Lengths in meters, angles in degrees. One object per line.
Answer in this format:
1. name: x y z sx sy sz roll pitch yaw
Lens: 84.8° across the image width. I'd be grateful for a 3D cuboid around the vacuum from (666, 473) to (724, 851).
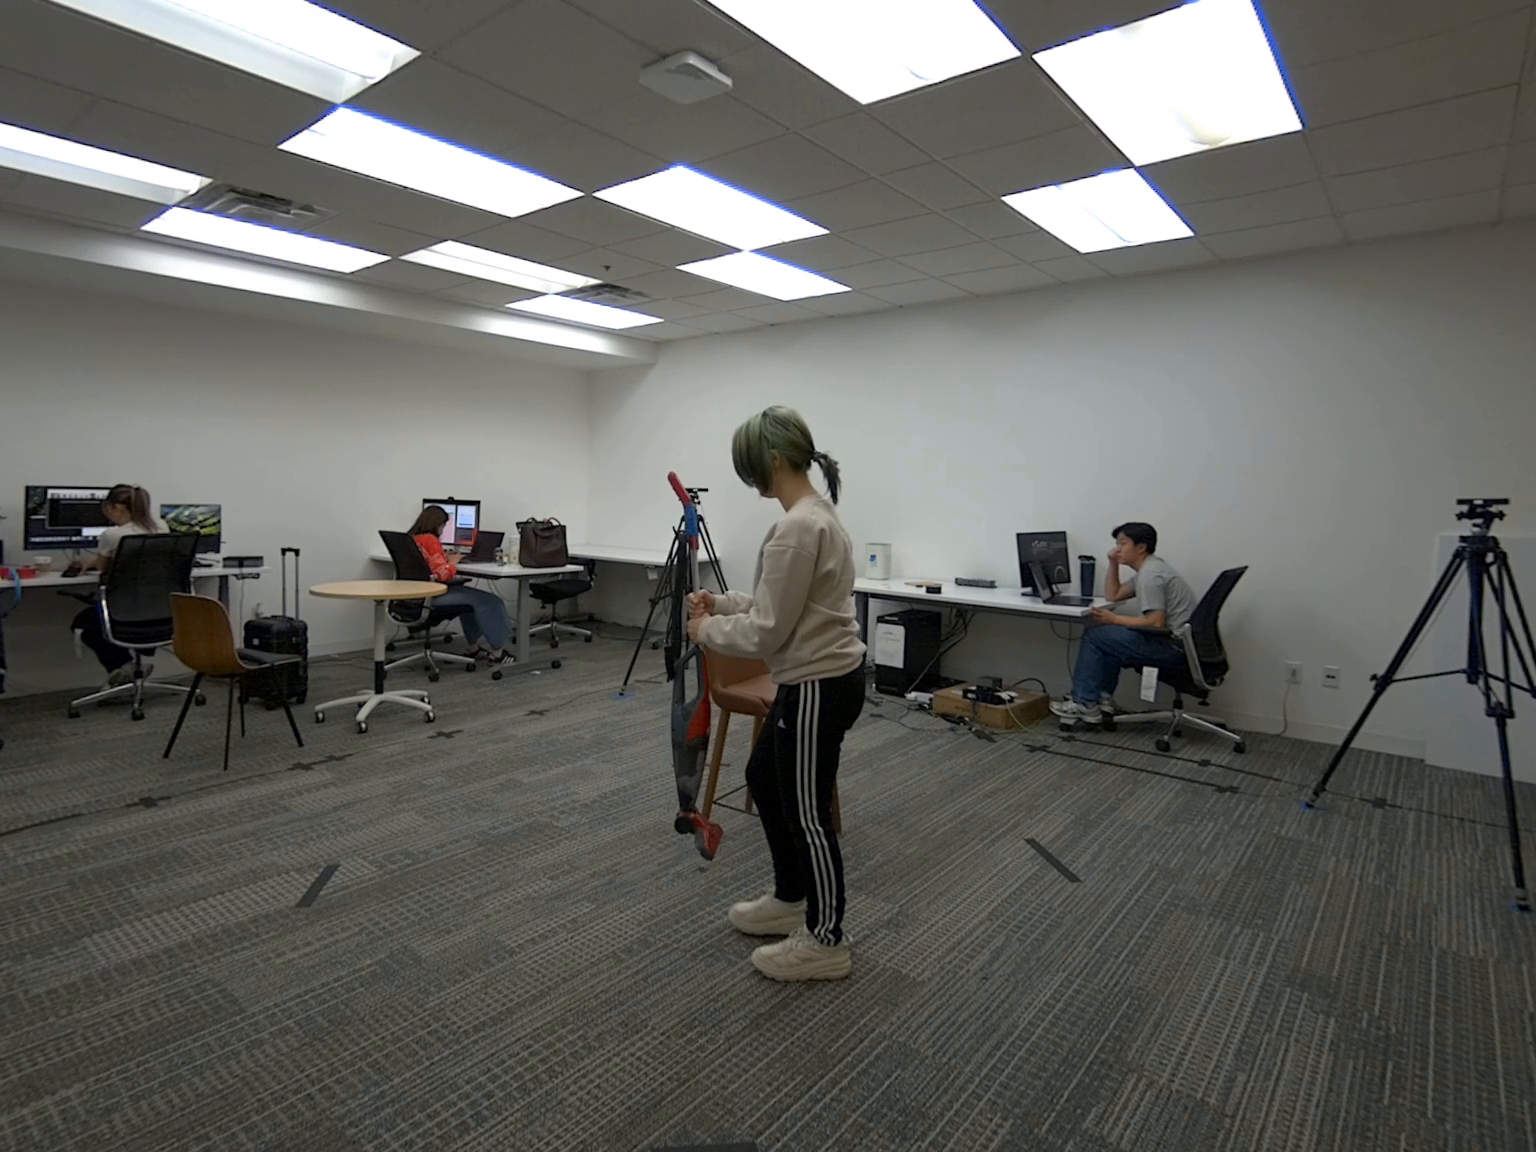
1. vacuum: -0.260 0.217 2.519 0.144 1.054 0.252 -6 -4 -3
